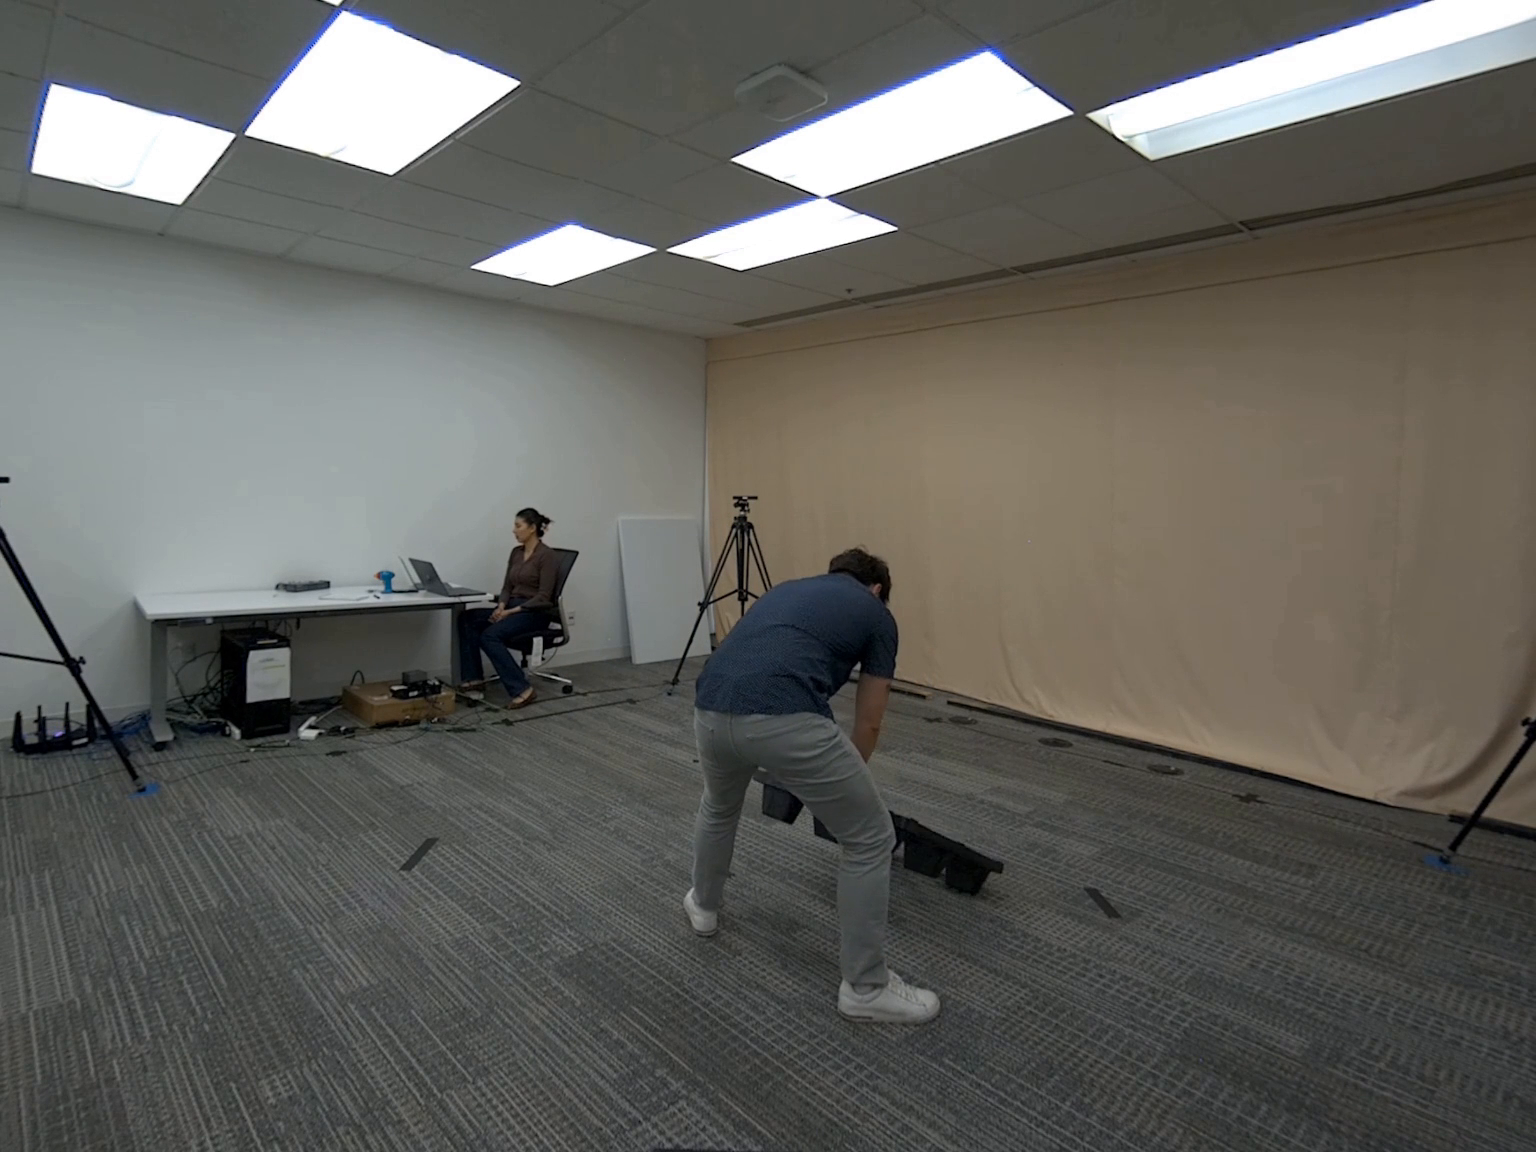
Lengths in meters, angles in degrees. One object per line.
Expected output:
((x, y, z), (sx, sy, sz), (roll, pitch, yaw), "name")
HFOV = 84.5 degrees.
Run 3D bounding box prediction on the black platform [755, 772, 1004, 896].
((0.373, 0.908, 2.920), (0.620, 0.144, 0.780), (6, -22, 41), "black platform")
